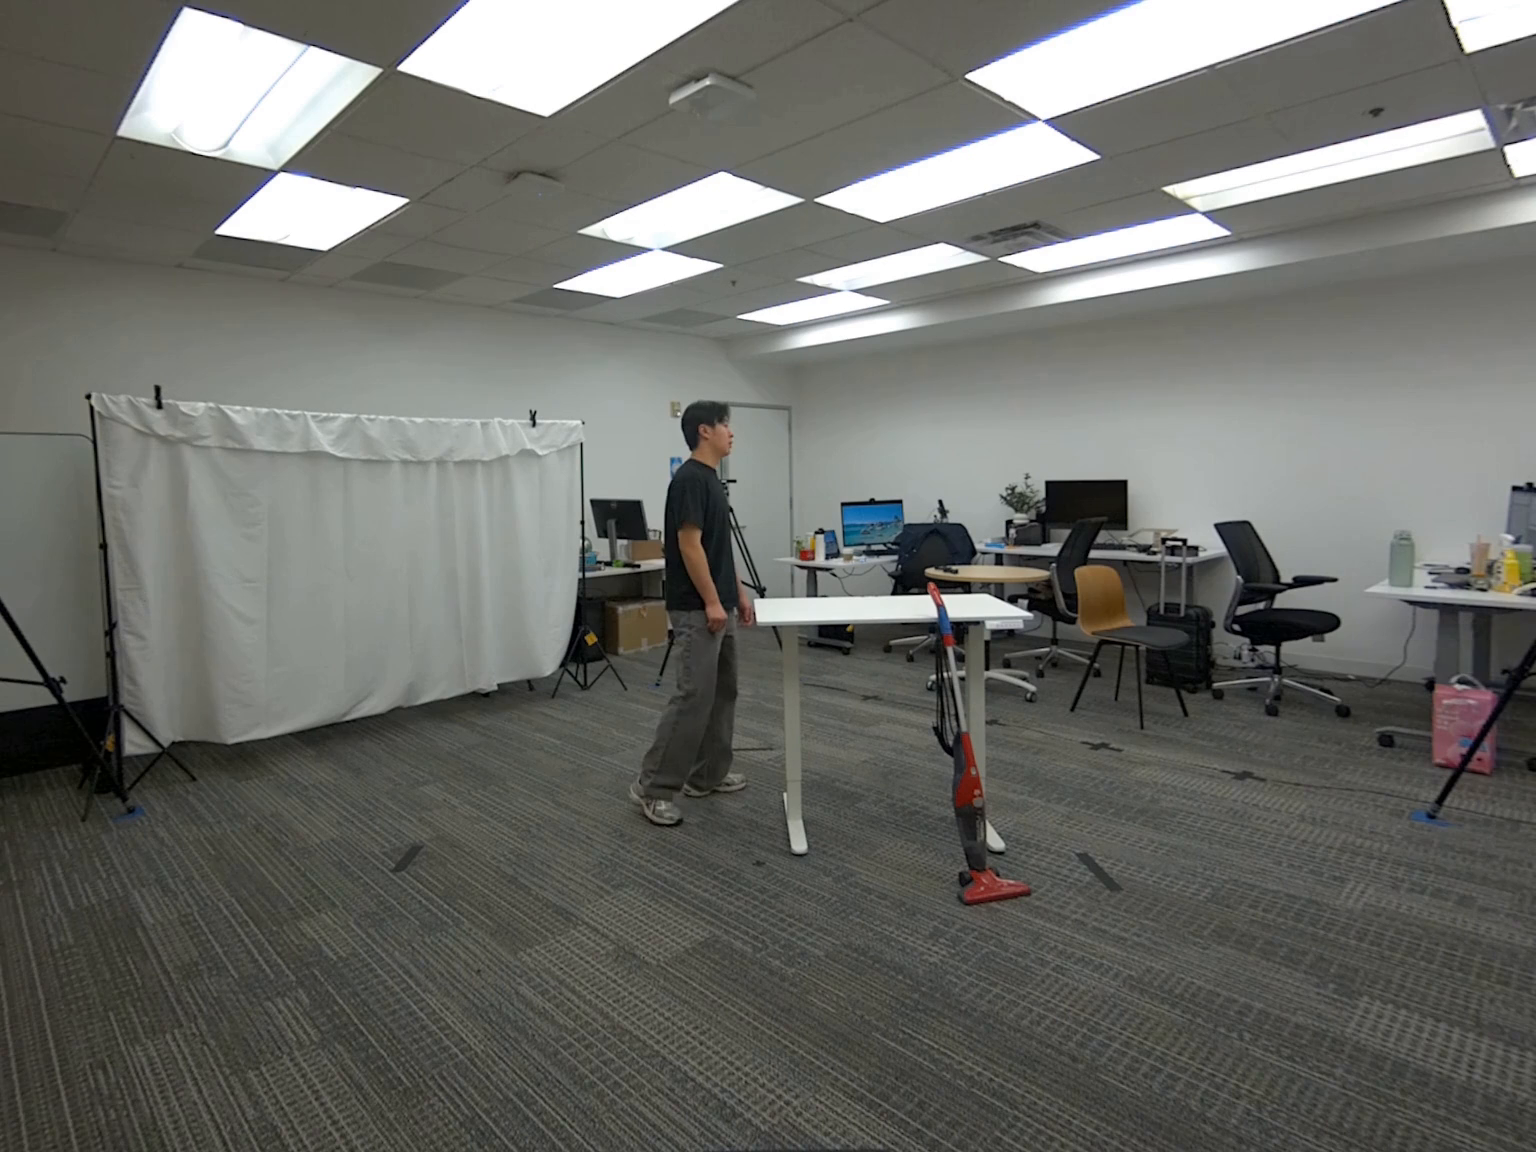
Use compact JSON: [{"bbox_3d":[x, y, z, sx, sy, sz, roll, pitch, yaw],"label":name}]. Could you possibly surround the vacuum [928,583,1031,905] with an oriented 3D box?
[{"bbox_3d":[0.676,0.554,3.007,0.248,1.065,0.144,-2,-15,-18],"label":"vacuum"}]
